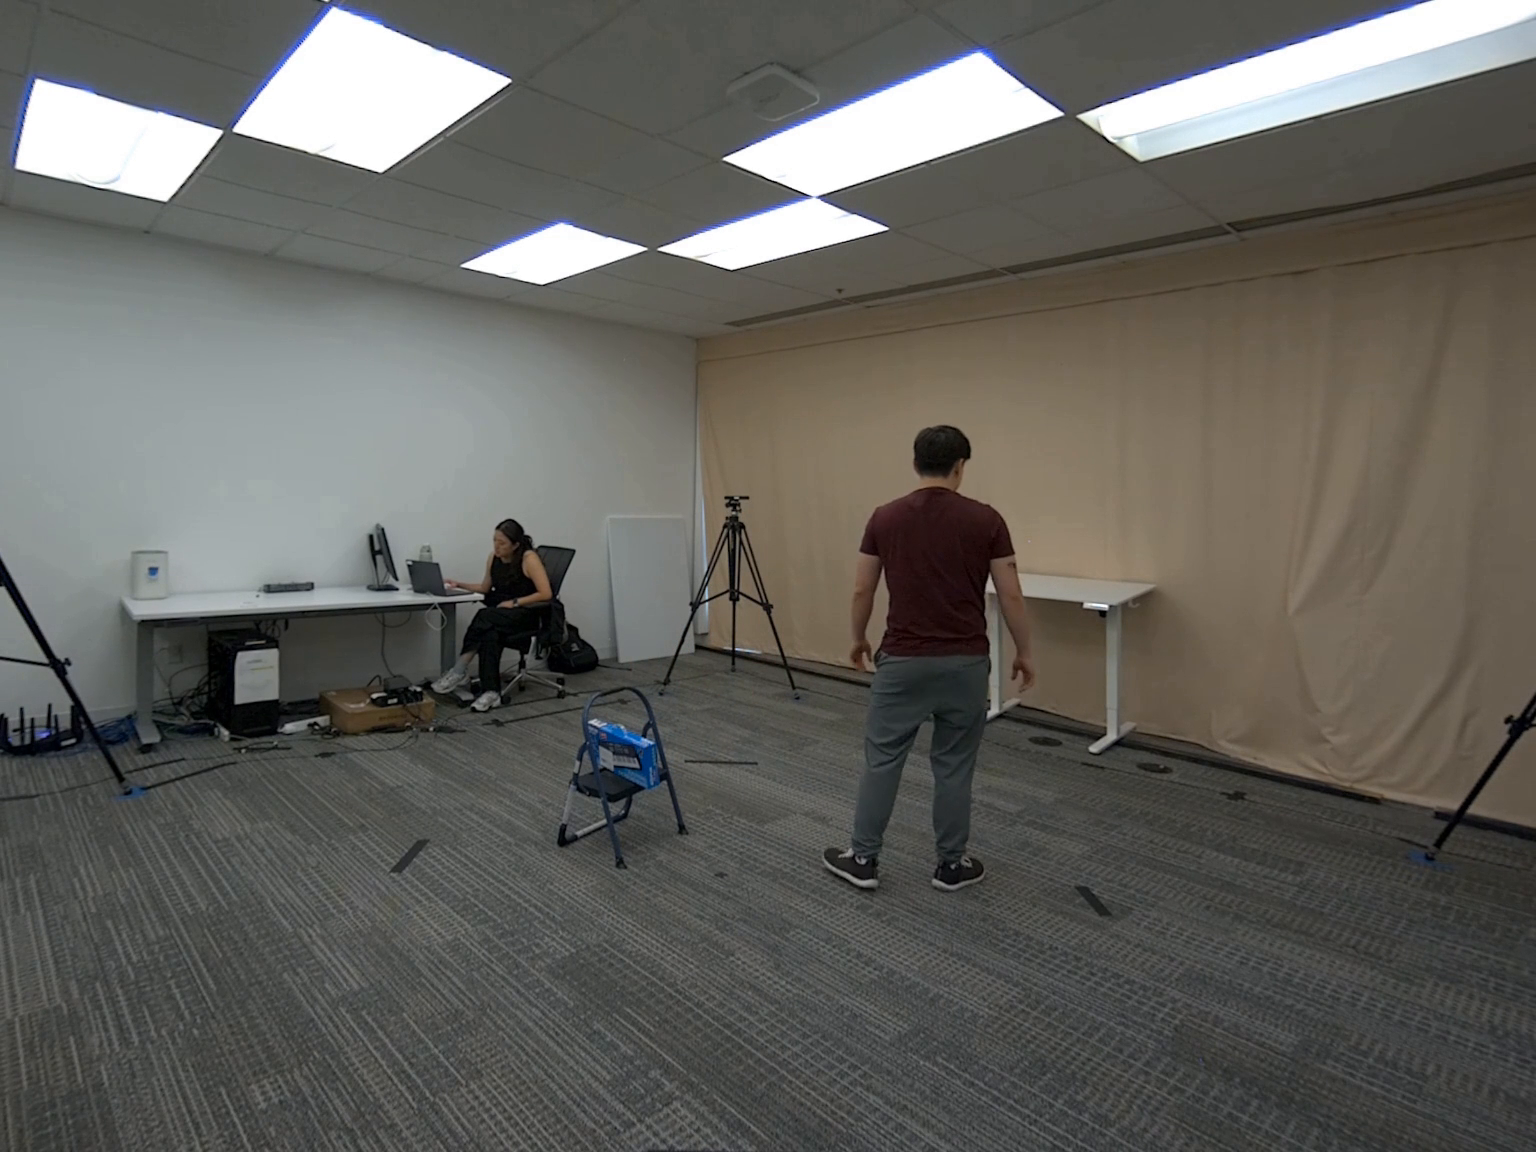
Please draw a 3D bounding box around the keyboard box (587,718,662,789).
[{"bbox_3d":[-0.597,0.712,3.407,0.058,0.175,0.448,-12,12,-41],"label":"keyboard box"}]
